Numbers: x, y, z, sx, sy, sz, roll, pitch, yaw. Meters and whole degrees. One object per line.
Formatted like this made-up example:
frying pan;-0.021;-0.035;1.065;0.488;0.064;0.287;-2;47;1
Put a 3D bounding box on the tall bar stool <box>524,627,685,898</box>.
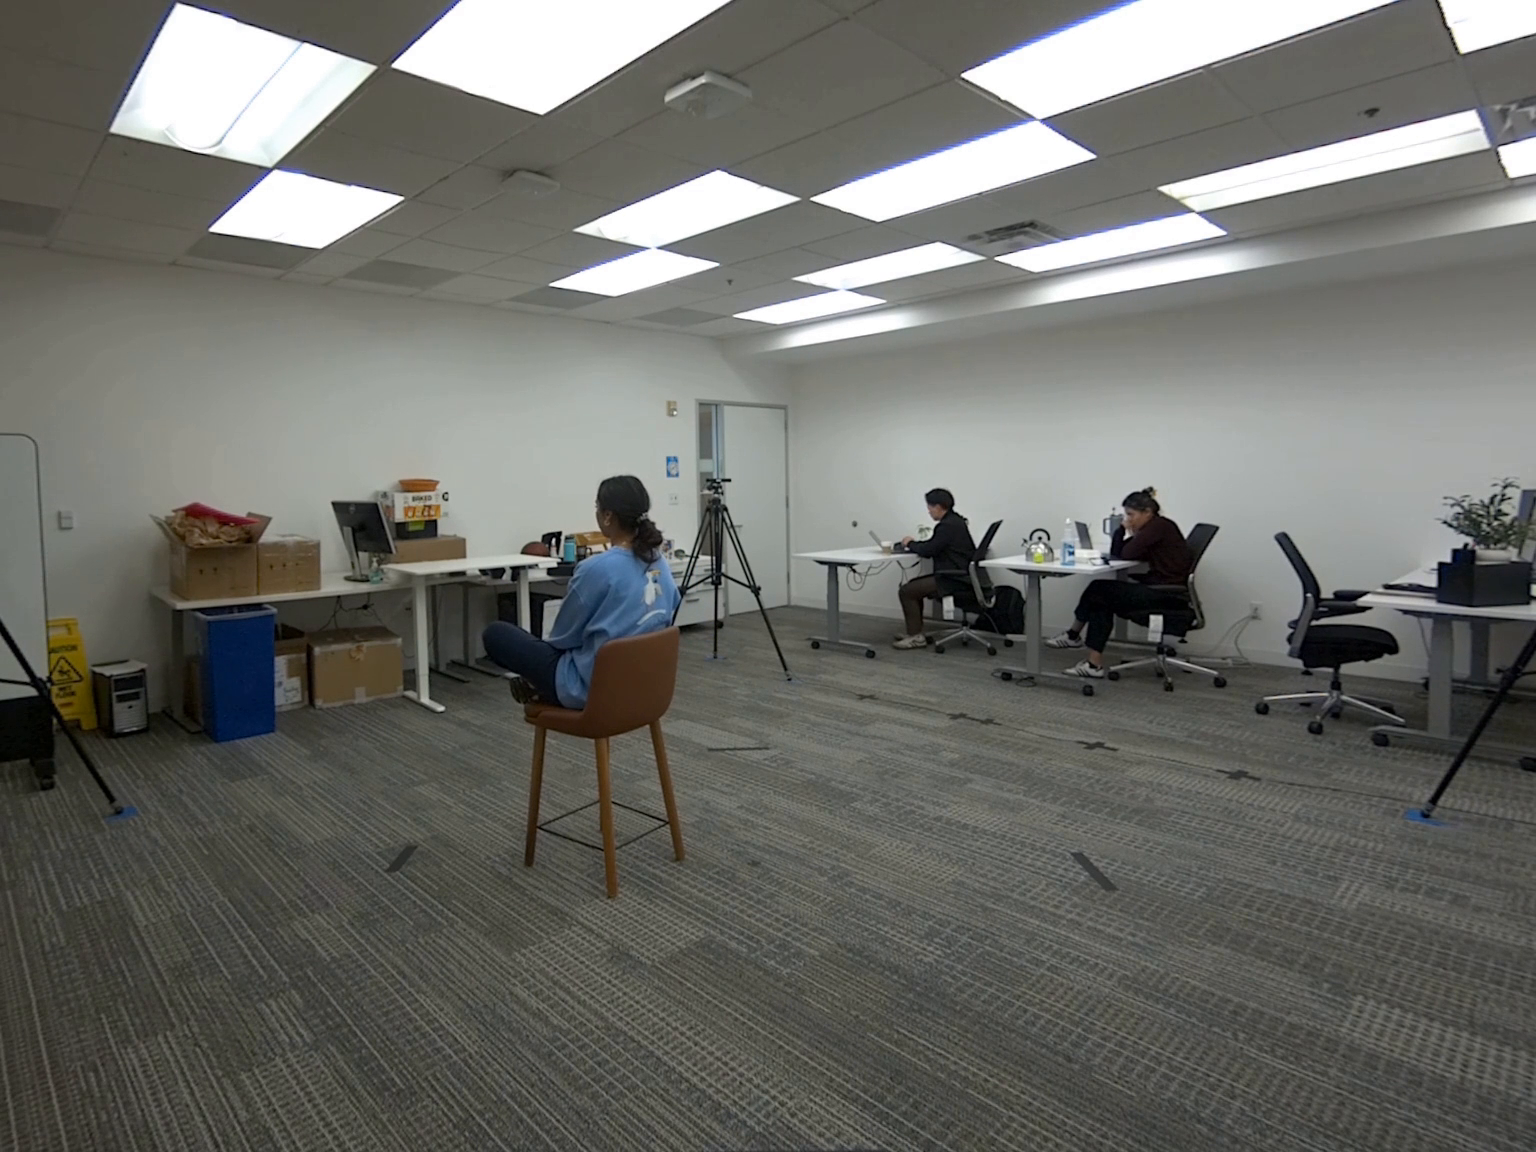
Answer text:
tall bar stool;-0.594;0.619;3.112;0.482;0.885;0.445;5;7;37
